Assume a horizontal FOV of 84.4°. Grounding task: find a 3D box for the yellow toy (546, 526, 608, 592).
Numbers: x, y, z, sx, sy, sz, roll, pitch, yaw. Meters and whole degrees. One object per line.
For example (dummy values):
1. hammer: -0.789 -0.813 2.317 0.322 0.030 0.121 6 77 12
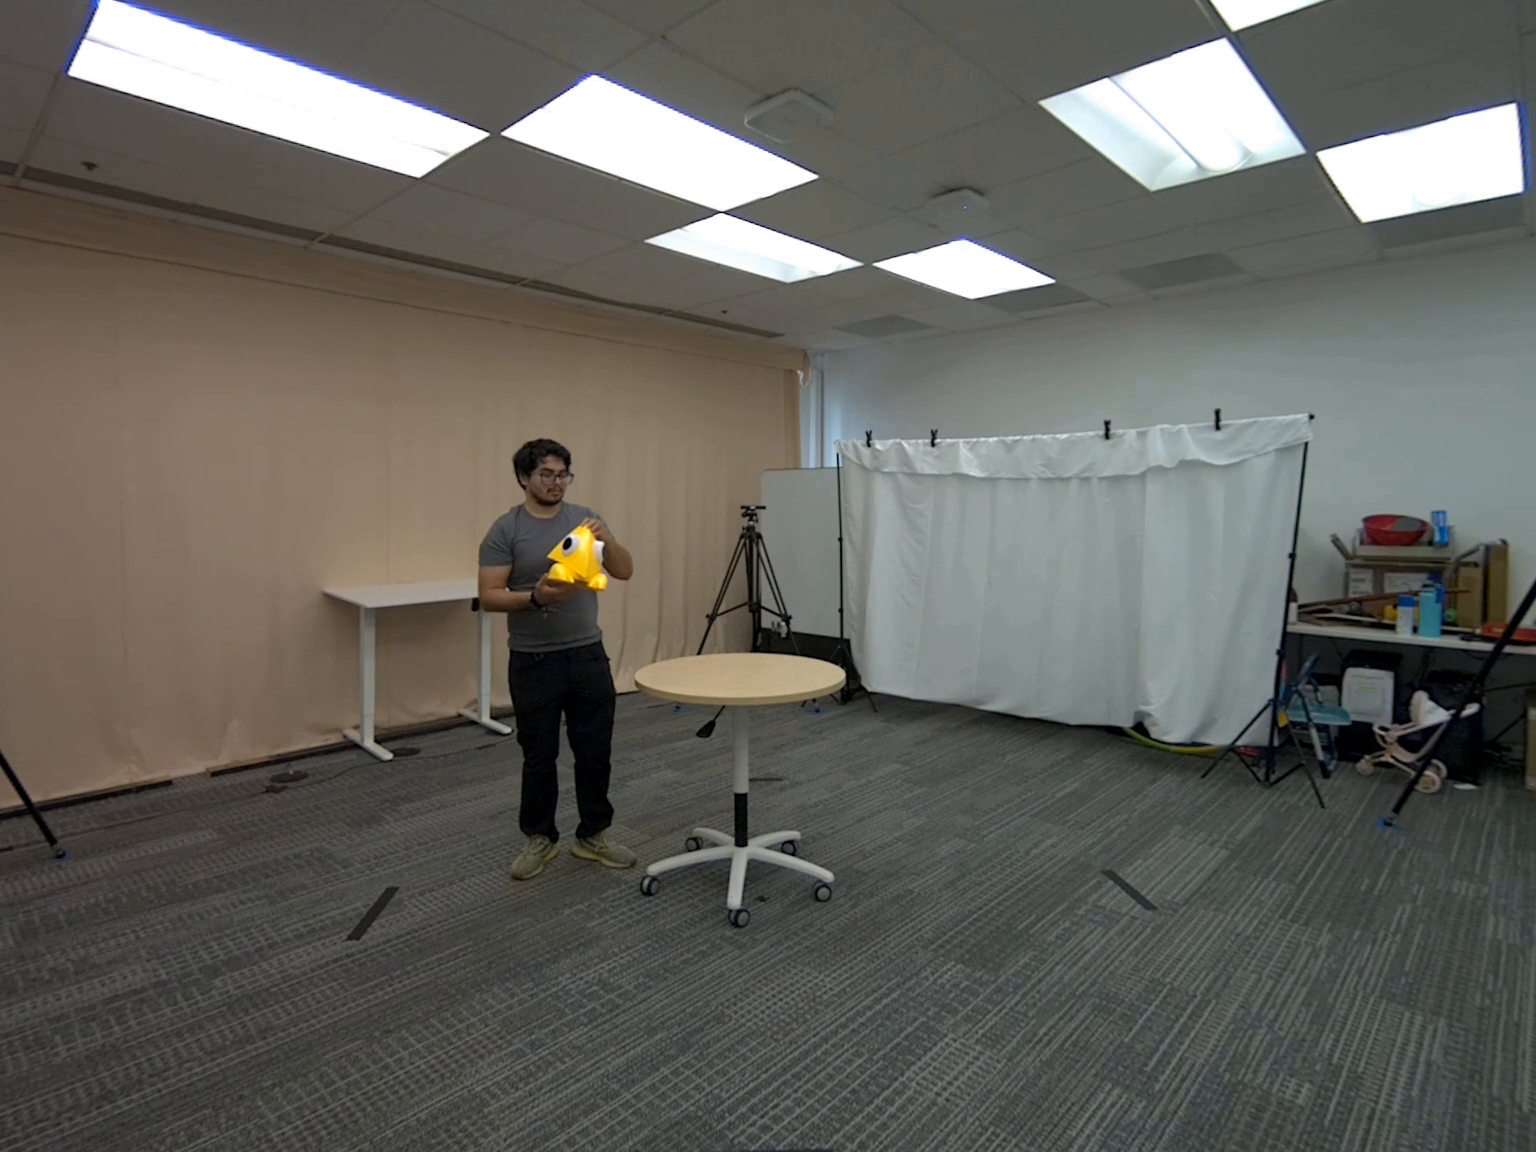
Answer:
1. yellow toy: -0.634 -0.077 2.901 0.199 0.231 0.197 13 -8 -26
